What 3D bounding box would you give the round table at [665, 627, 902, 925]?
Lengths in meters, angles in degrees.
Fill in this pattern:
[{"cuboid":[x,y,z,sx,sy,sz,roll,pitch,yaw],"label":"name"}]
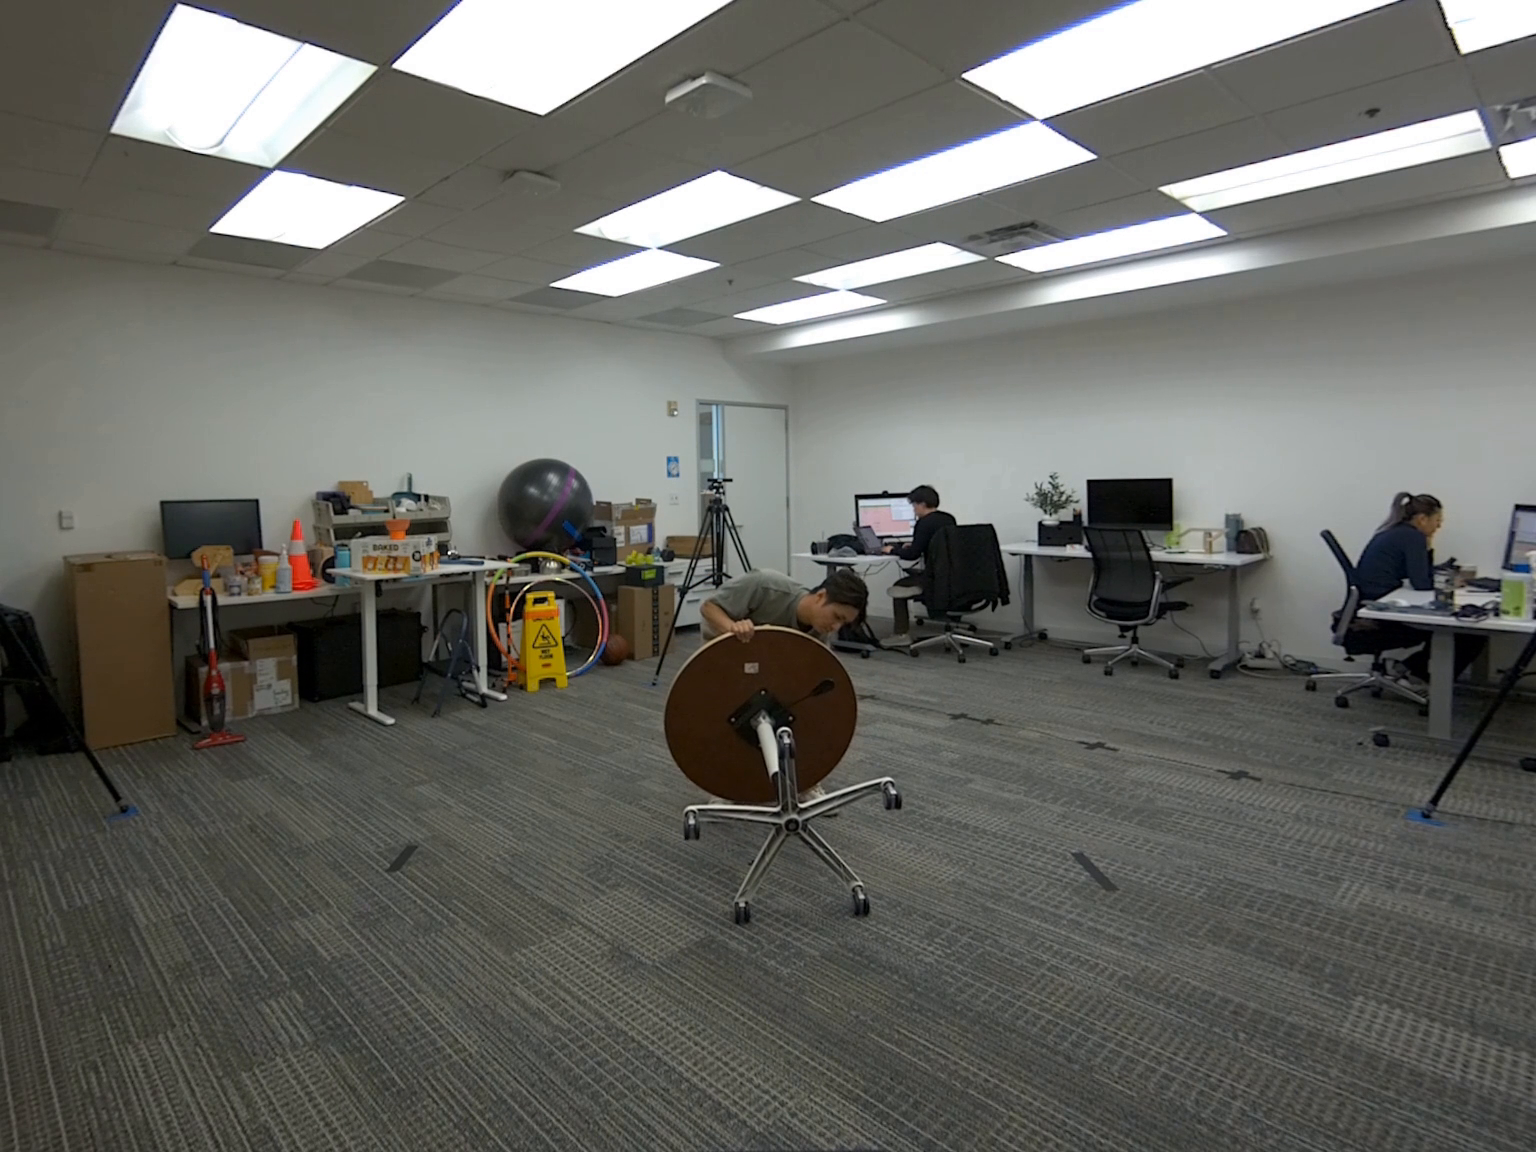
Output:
[{"cuboid":[0.042,0.674,2.989,0.780,0.773,0.804,-2,18,-8],"label":"round table"}]
